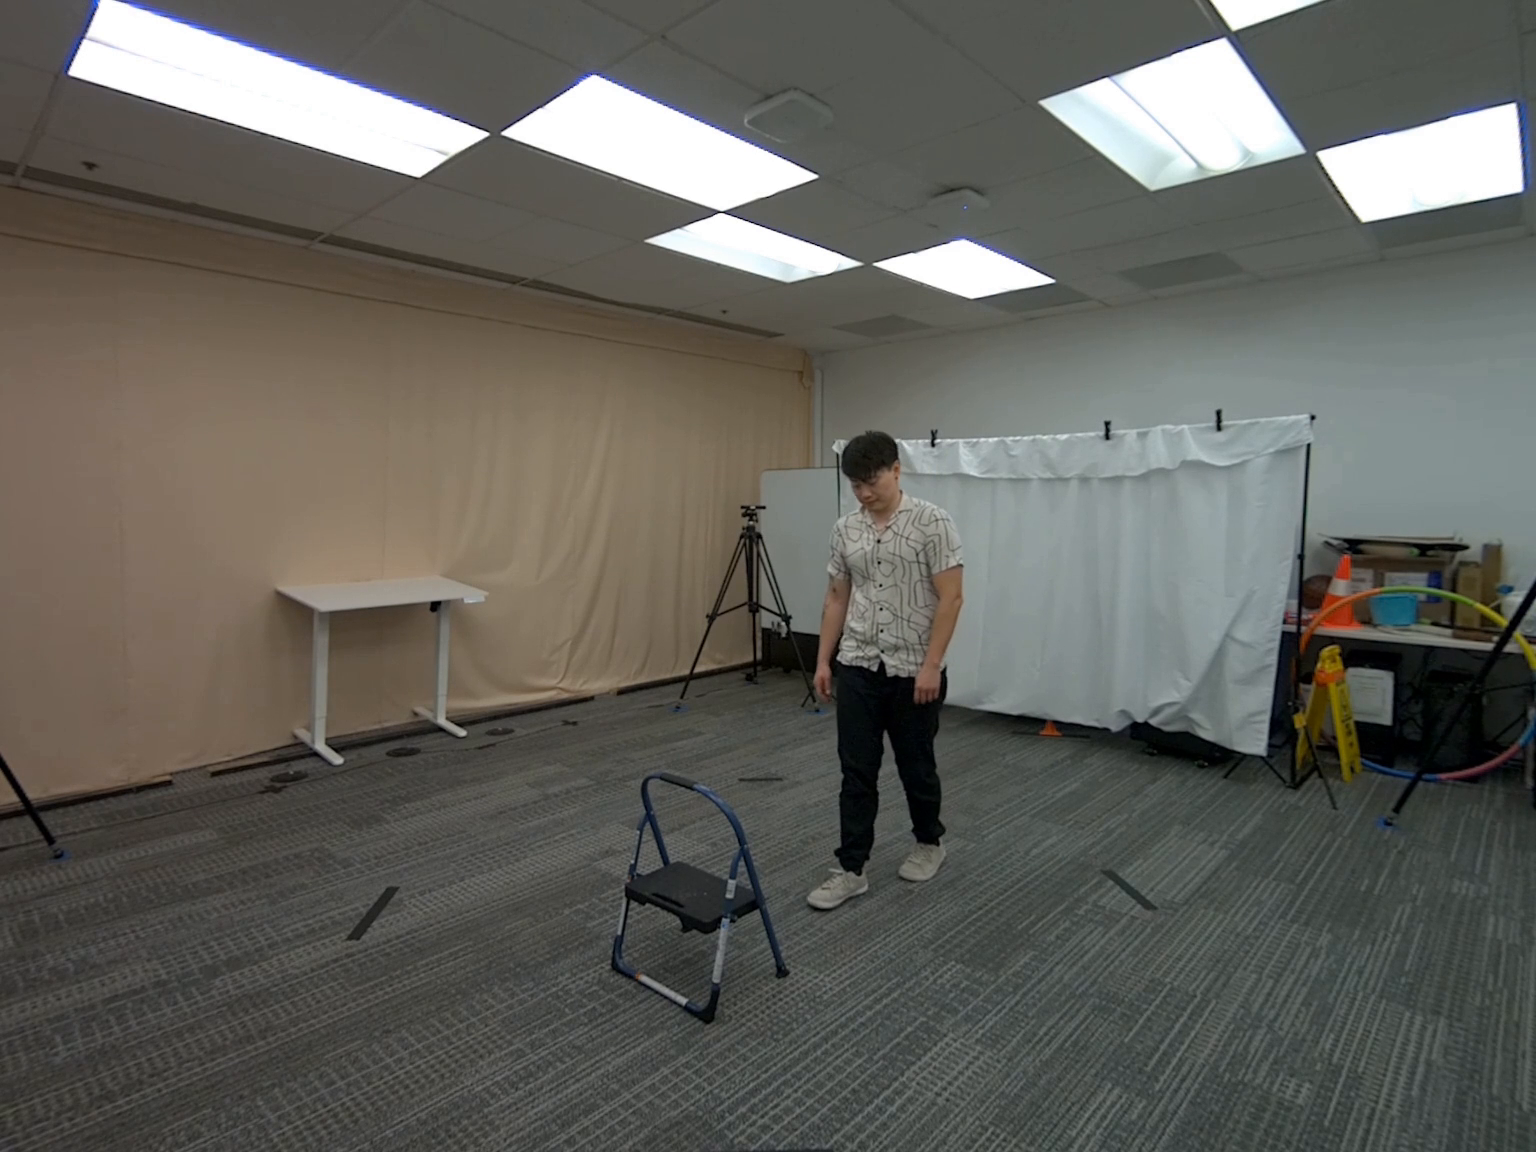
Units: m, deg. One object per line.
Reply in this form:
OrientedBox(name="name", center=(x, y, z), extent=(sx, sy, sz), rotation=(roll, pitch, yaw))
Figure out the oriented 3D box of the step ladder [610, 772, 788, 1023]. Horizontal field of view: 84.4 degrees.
OrientedBox(name="step ladder", center=(-0.208, 0.882, 2.504), extent=(0.445, 0.605, 0.339), rotation=(3, 4, 40))
